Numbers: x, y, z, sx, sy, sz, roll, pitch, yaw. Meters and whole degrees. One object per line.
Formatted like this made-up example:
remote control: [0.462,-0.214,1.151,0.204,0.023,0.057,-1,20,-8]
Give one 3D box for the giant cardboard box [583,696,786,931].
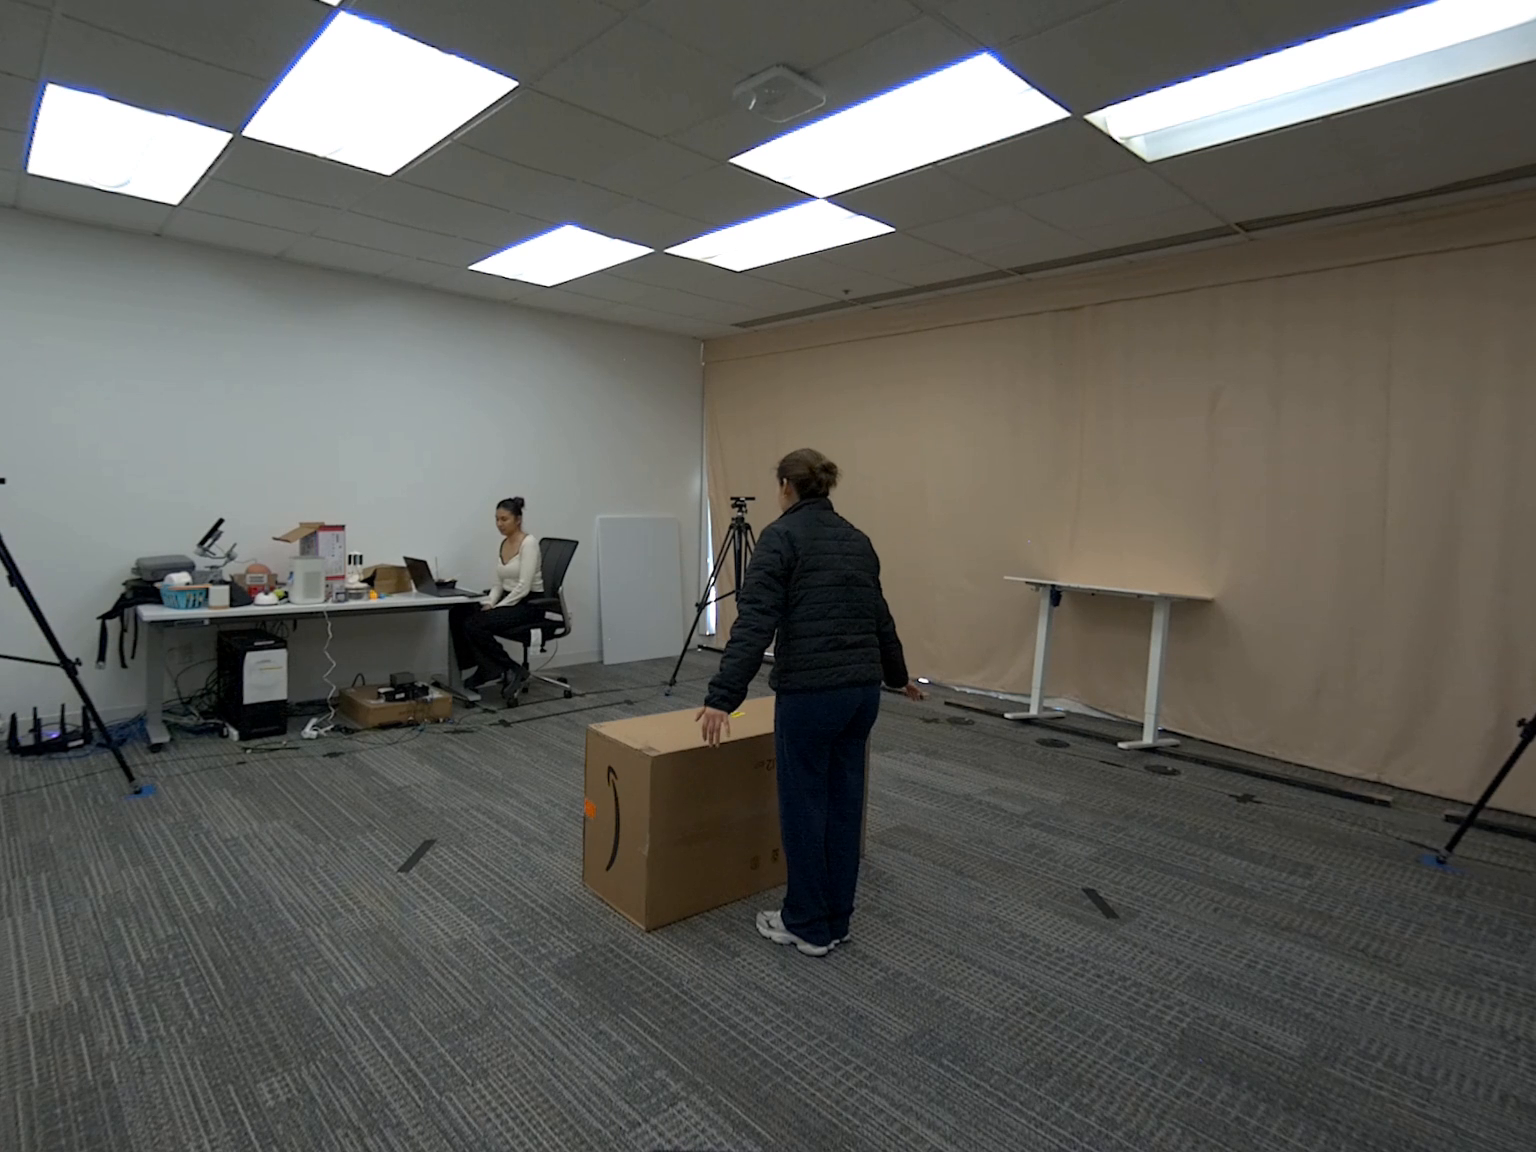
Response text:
giant cardboard box: [-0.137,0.819,3.137,1.004,0.583,0.458,-2,4,-40]
